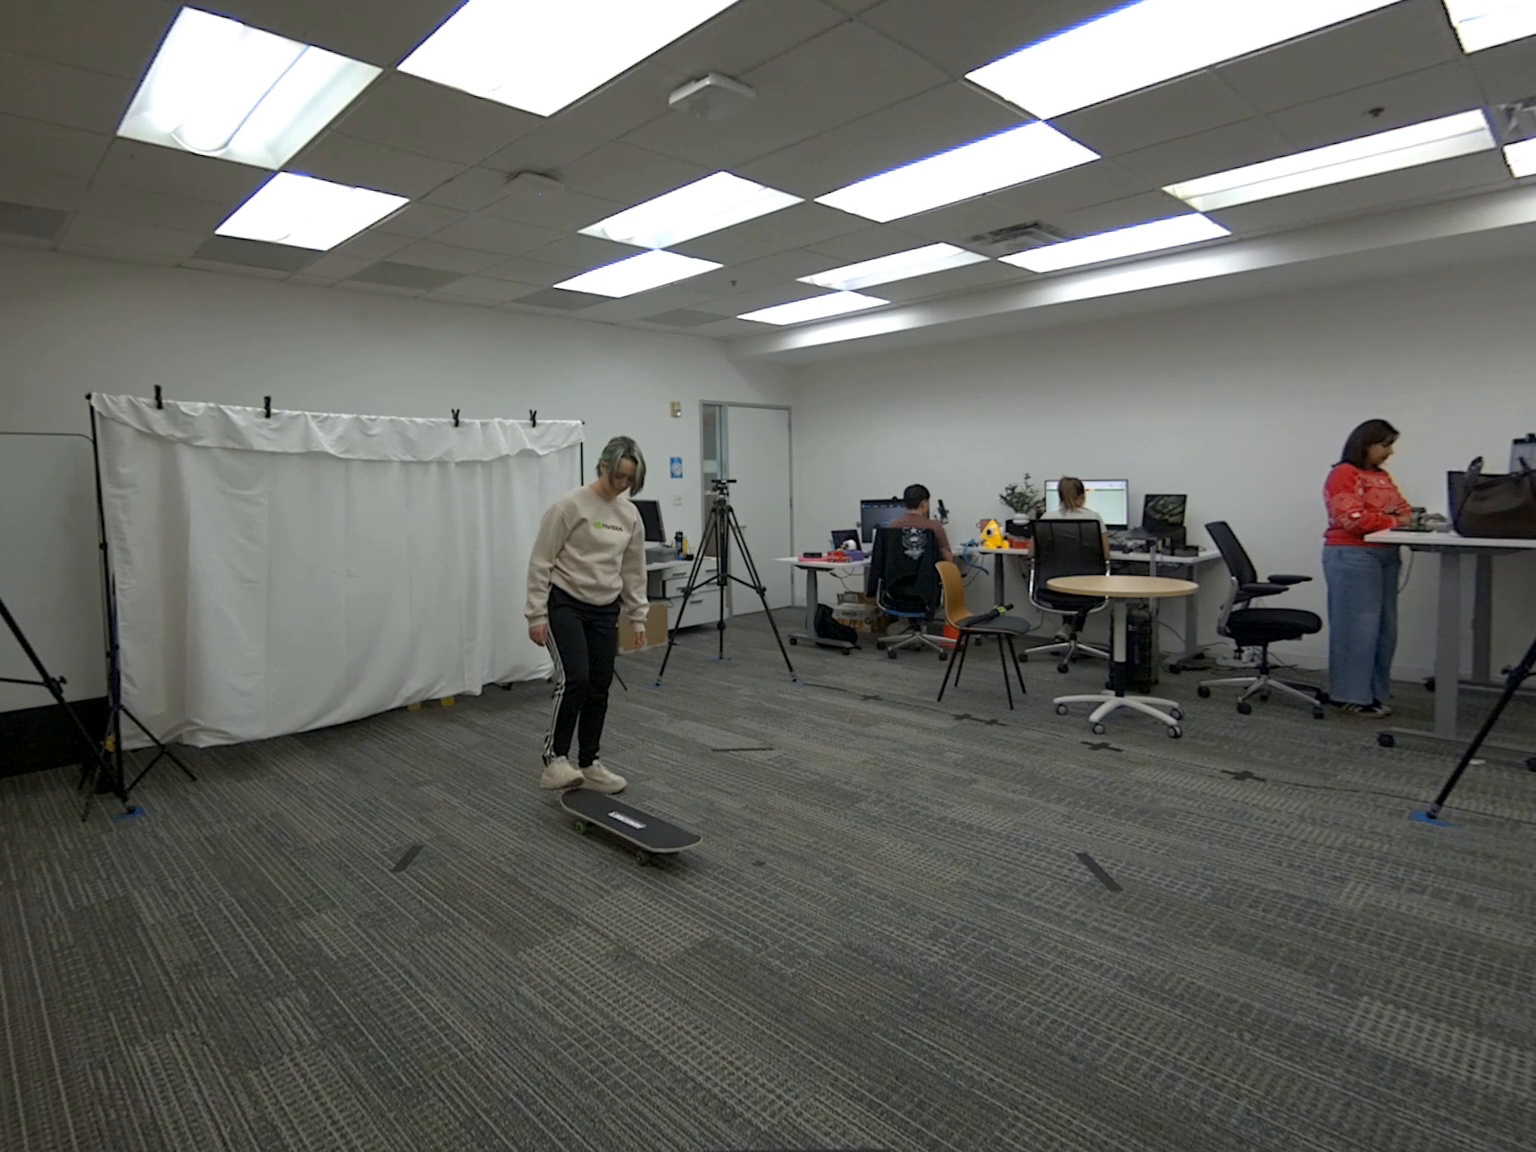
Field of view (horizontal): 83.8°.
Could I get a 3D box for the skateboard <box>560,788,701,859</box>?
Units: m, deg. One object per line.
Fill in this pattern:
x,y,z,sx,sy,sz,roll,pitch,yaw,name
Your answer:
-0.541,0.982,3.308,0.188,0.110,0.810,-6,7,-44,skateboard
